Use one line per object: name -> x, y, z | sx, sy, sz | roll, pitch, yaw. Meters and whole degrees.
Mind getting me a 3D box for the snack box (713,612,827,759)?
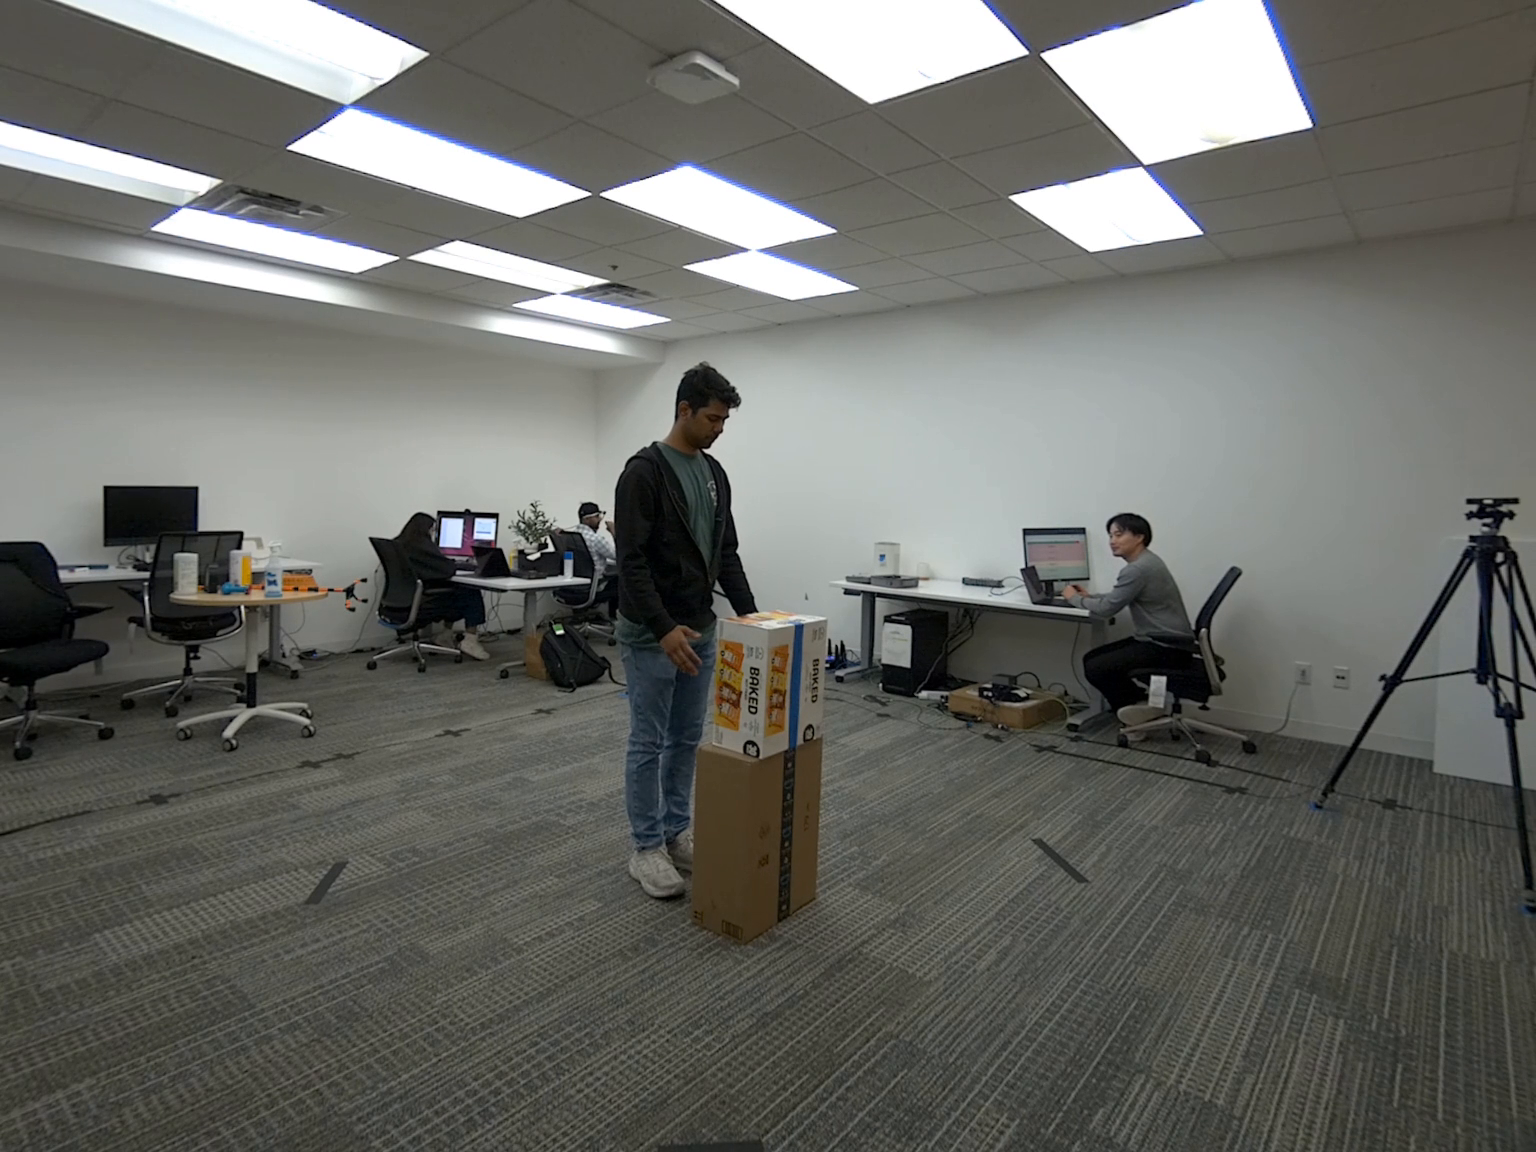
snack box -> -0.002, 0.335, 2.771 | 0.213, 0.403, 0.330 | 6, 6, 38
